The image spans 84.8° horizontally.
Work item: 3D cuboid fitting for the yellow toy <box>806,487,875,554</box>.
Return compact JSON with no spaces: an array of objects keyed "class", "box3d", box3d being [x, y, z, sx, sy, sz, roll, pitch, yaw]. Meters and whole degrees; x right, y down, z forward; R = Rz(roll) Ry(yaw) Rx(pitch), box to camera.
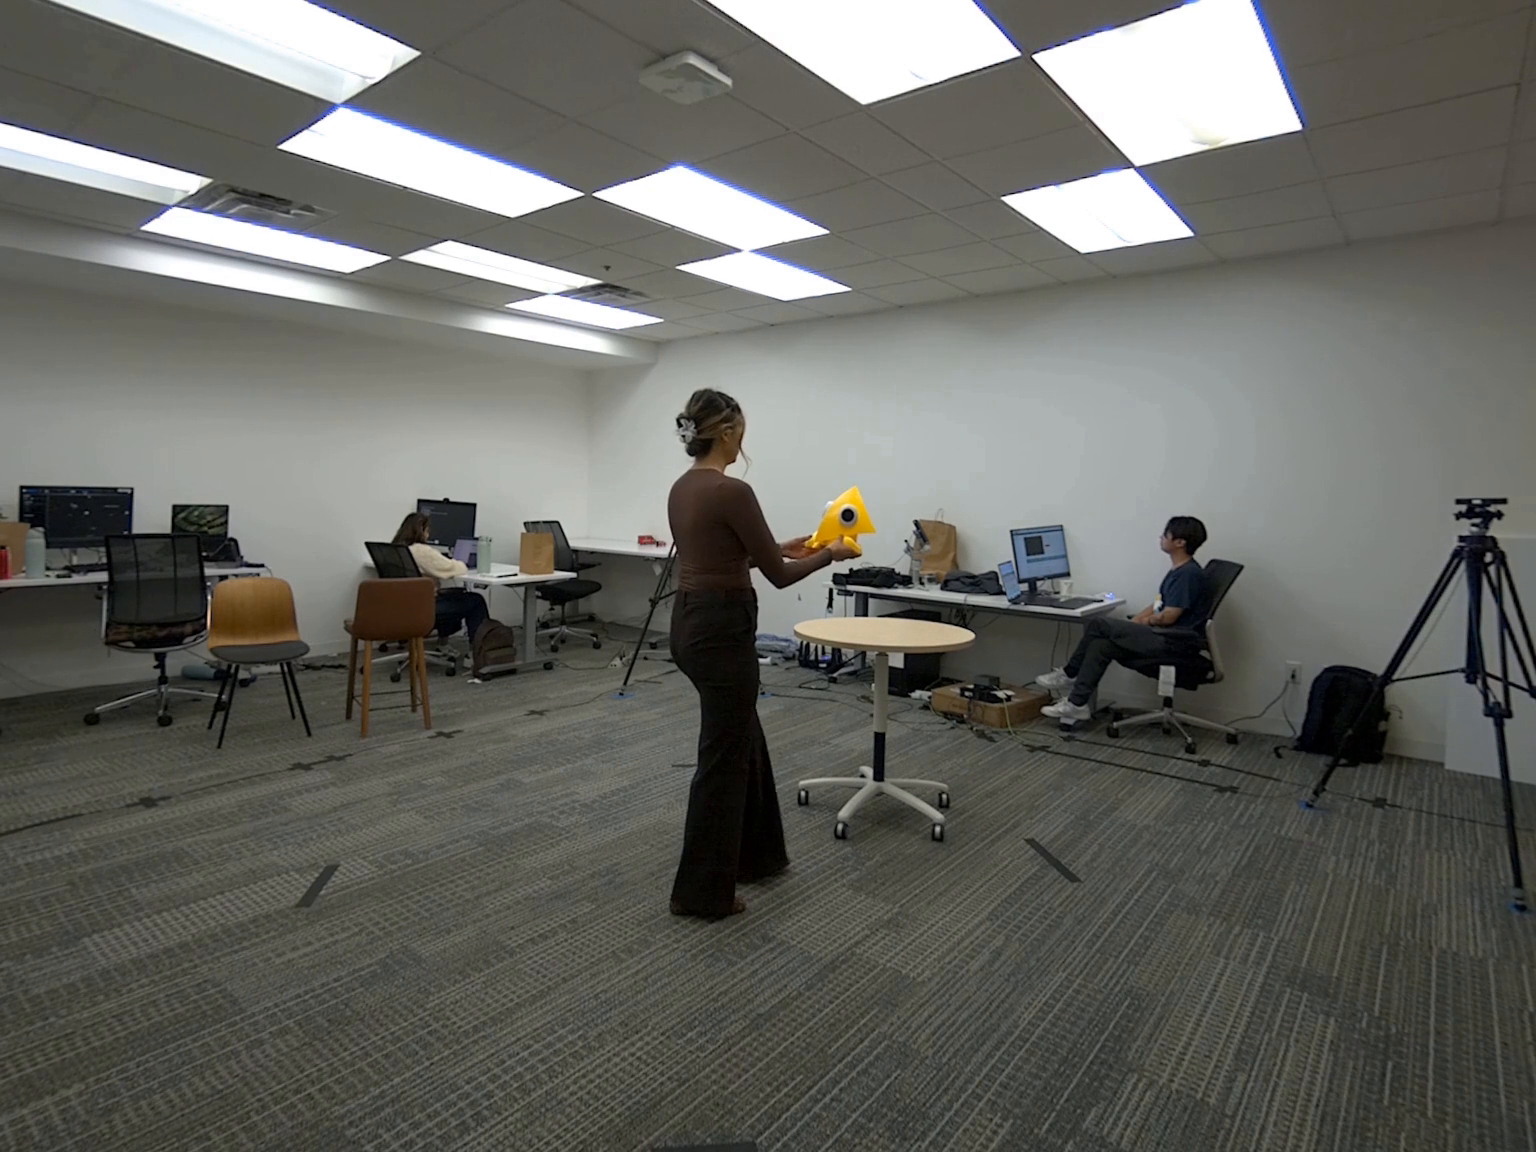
[{"class":"yellow toy","box3d":[0.244,-0.209,3.022,0.188,0.229,0.212,1,9,-31]}]
